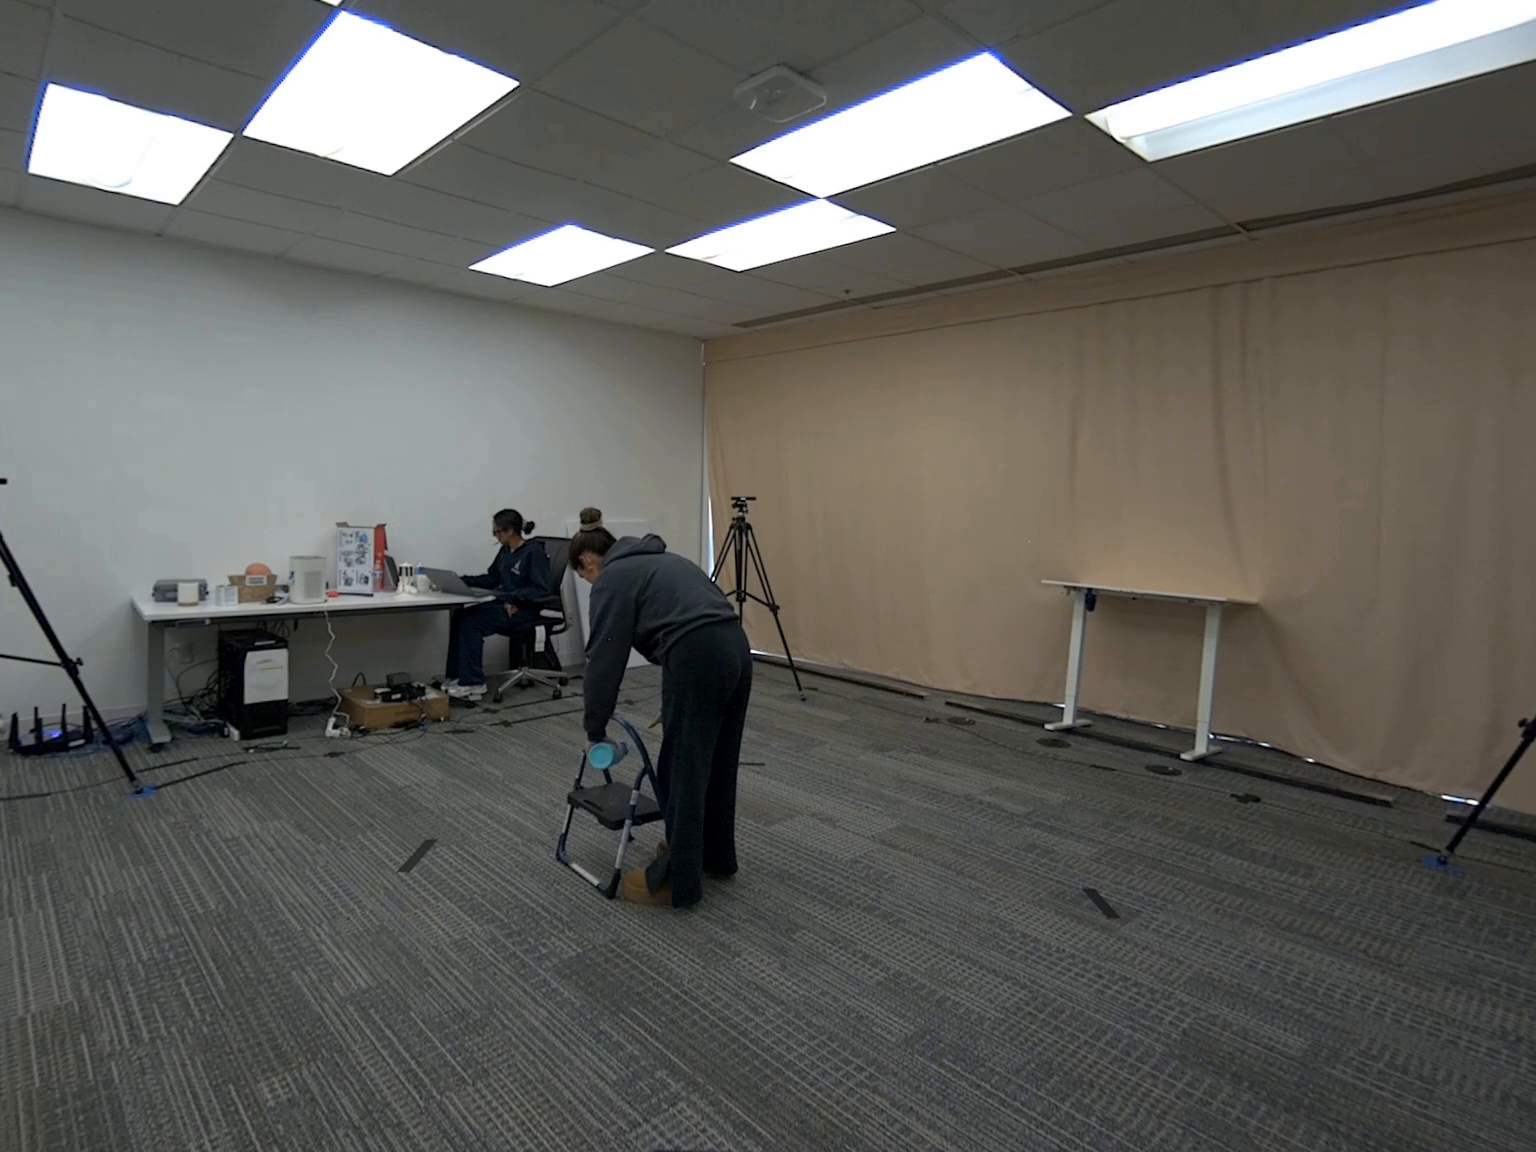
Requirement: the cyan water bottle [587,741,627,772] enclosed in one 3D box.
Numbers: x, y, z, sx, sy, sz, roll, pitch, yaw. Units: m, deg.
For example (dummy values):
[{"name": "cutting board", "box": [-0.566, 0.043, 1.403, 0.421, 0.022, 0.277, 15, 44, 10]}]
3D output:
[{"name": "cyan water bottle", "box": [-0.576, 0.630, 3.017, 0.092, 0.093, 0.281, 2, -7, 1]}]
